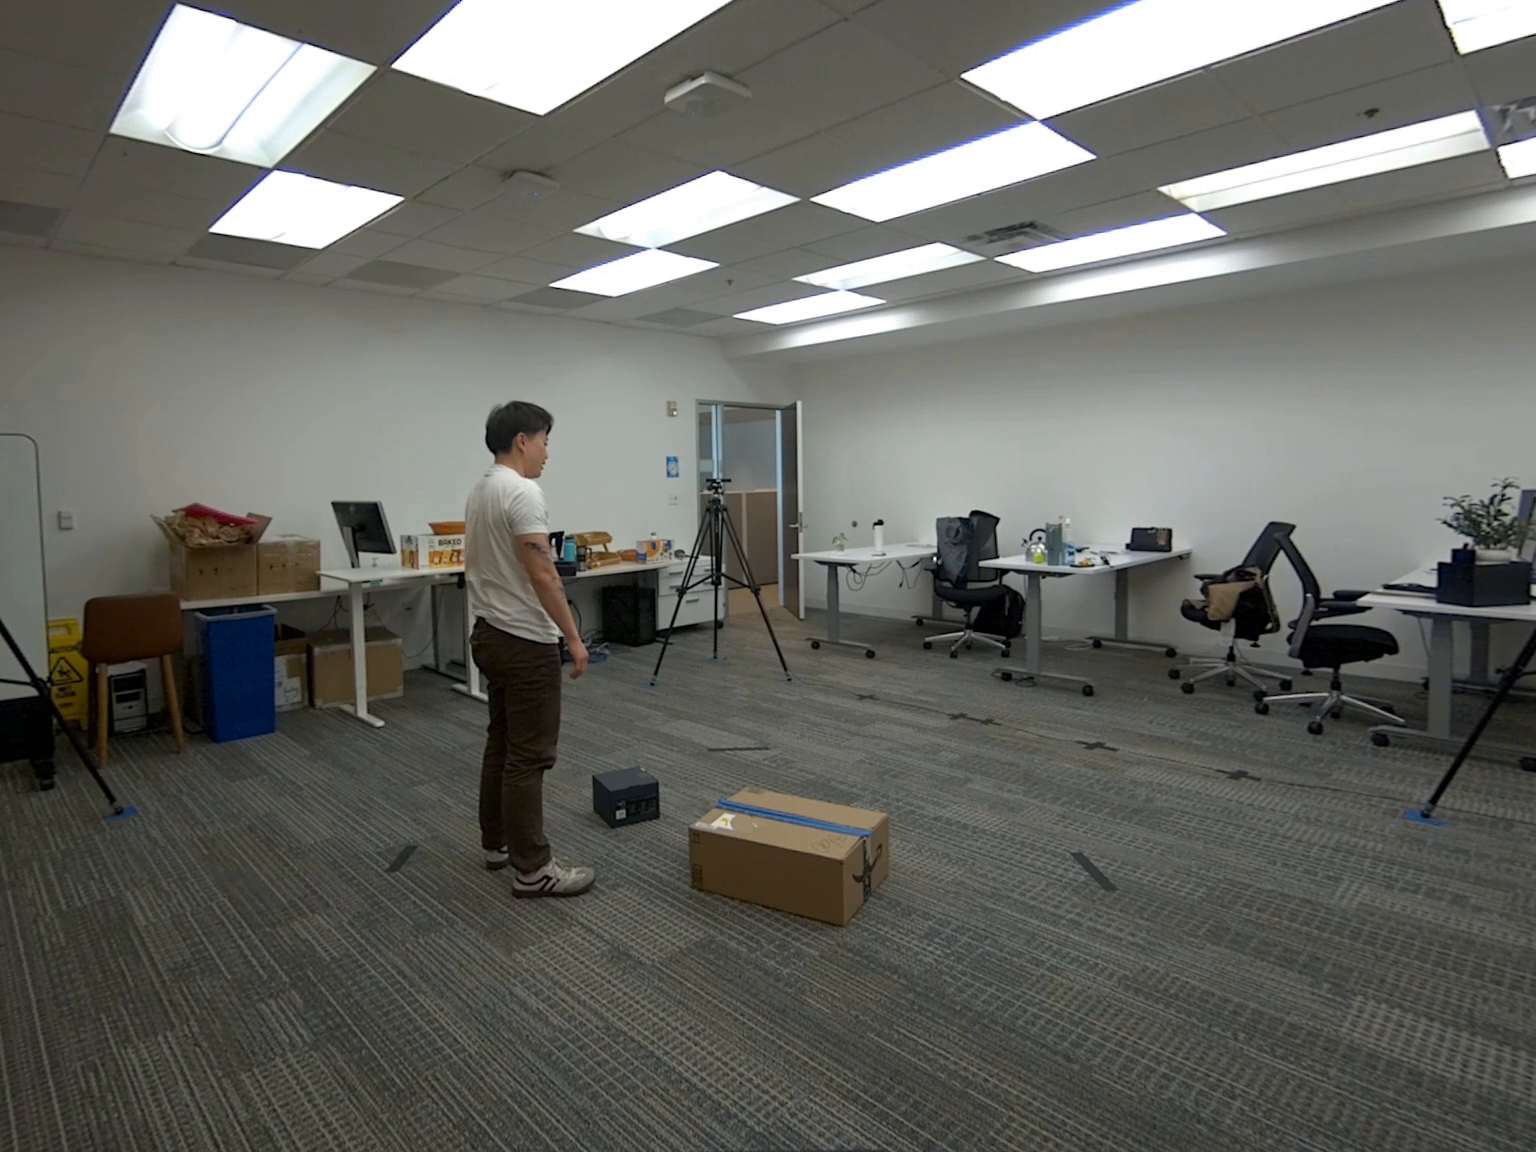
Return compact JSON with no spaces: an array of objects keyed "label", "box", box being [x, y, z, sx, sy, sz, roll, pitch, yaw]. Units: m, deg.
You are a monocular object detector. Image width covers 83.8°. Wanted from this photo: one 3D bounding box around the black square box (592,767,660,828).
[{"label":"black square box","box":[-0.598,0.918,3.581,0.212,0.155,0.234,-4,6,-29]}]
